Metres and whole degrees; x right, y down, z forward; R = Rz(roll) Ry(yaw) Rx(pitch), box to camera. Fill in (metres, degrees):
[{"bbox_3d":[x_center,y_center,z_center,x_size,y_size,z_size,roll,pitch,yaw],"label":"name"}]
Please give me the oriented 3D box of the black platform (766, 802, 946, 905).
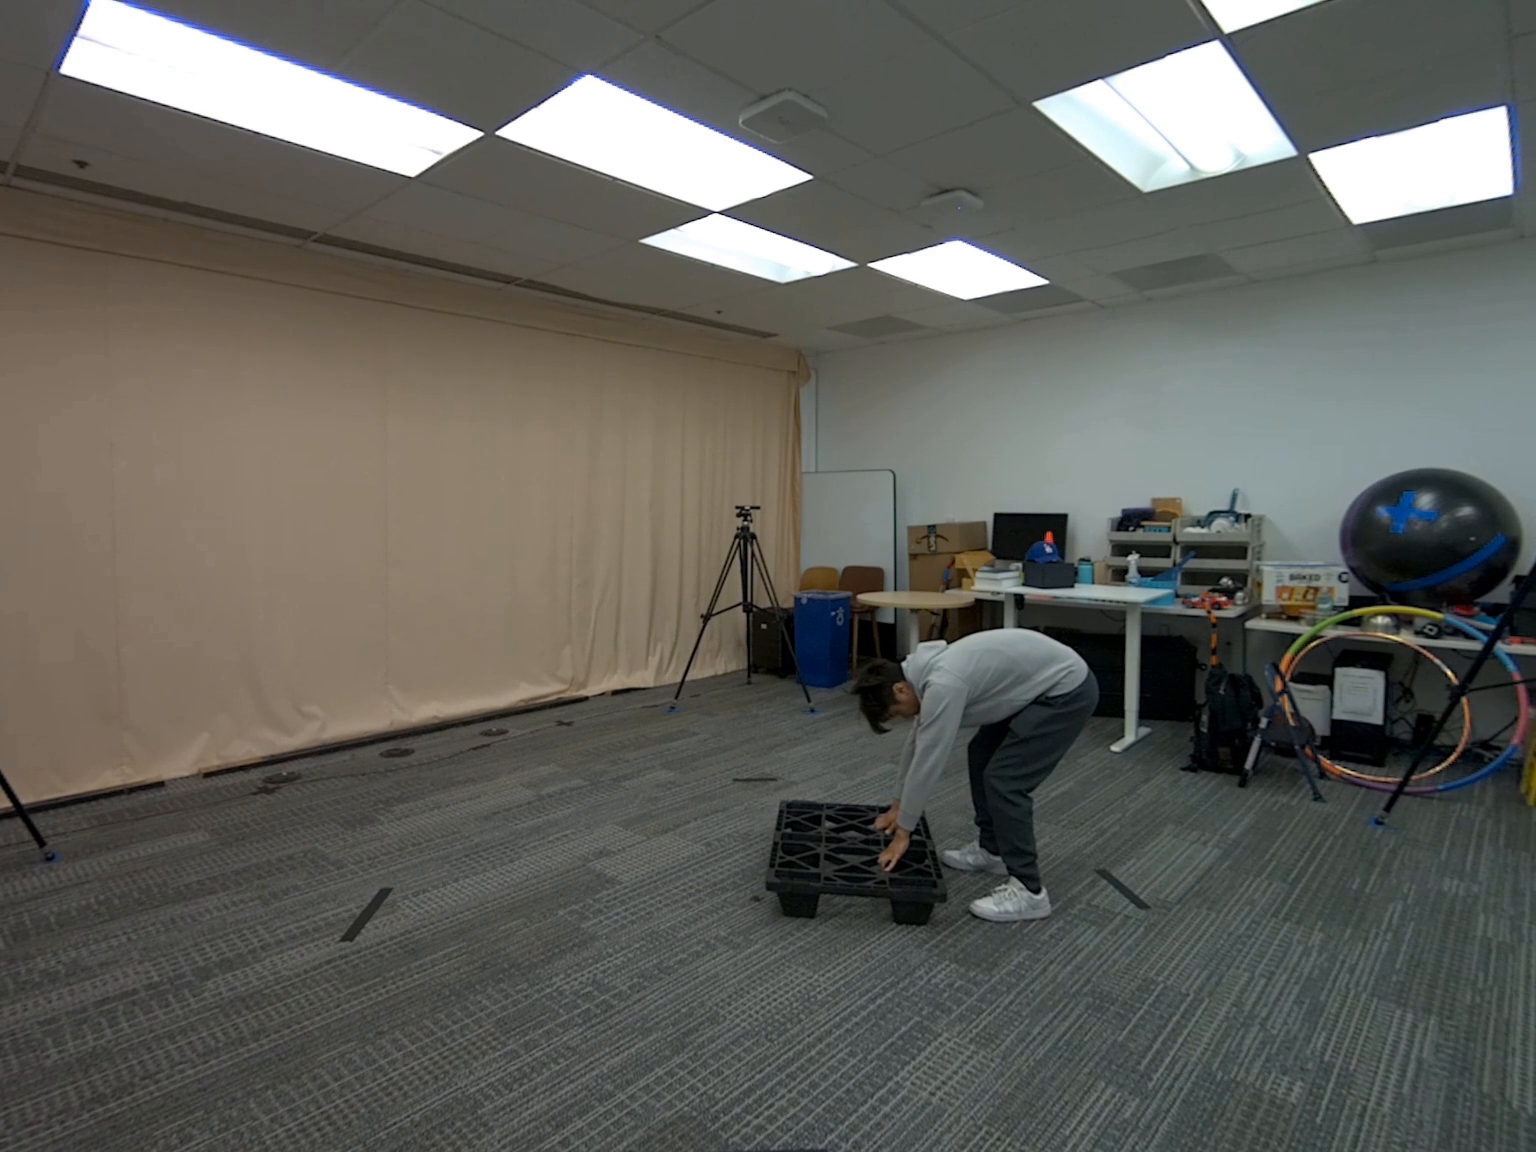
[{"bbox_3d":[0.325,1.057,3.175,0.610,0.143,0.801,1,5,6],"label":"black platform"}]
